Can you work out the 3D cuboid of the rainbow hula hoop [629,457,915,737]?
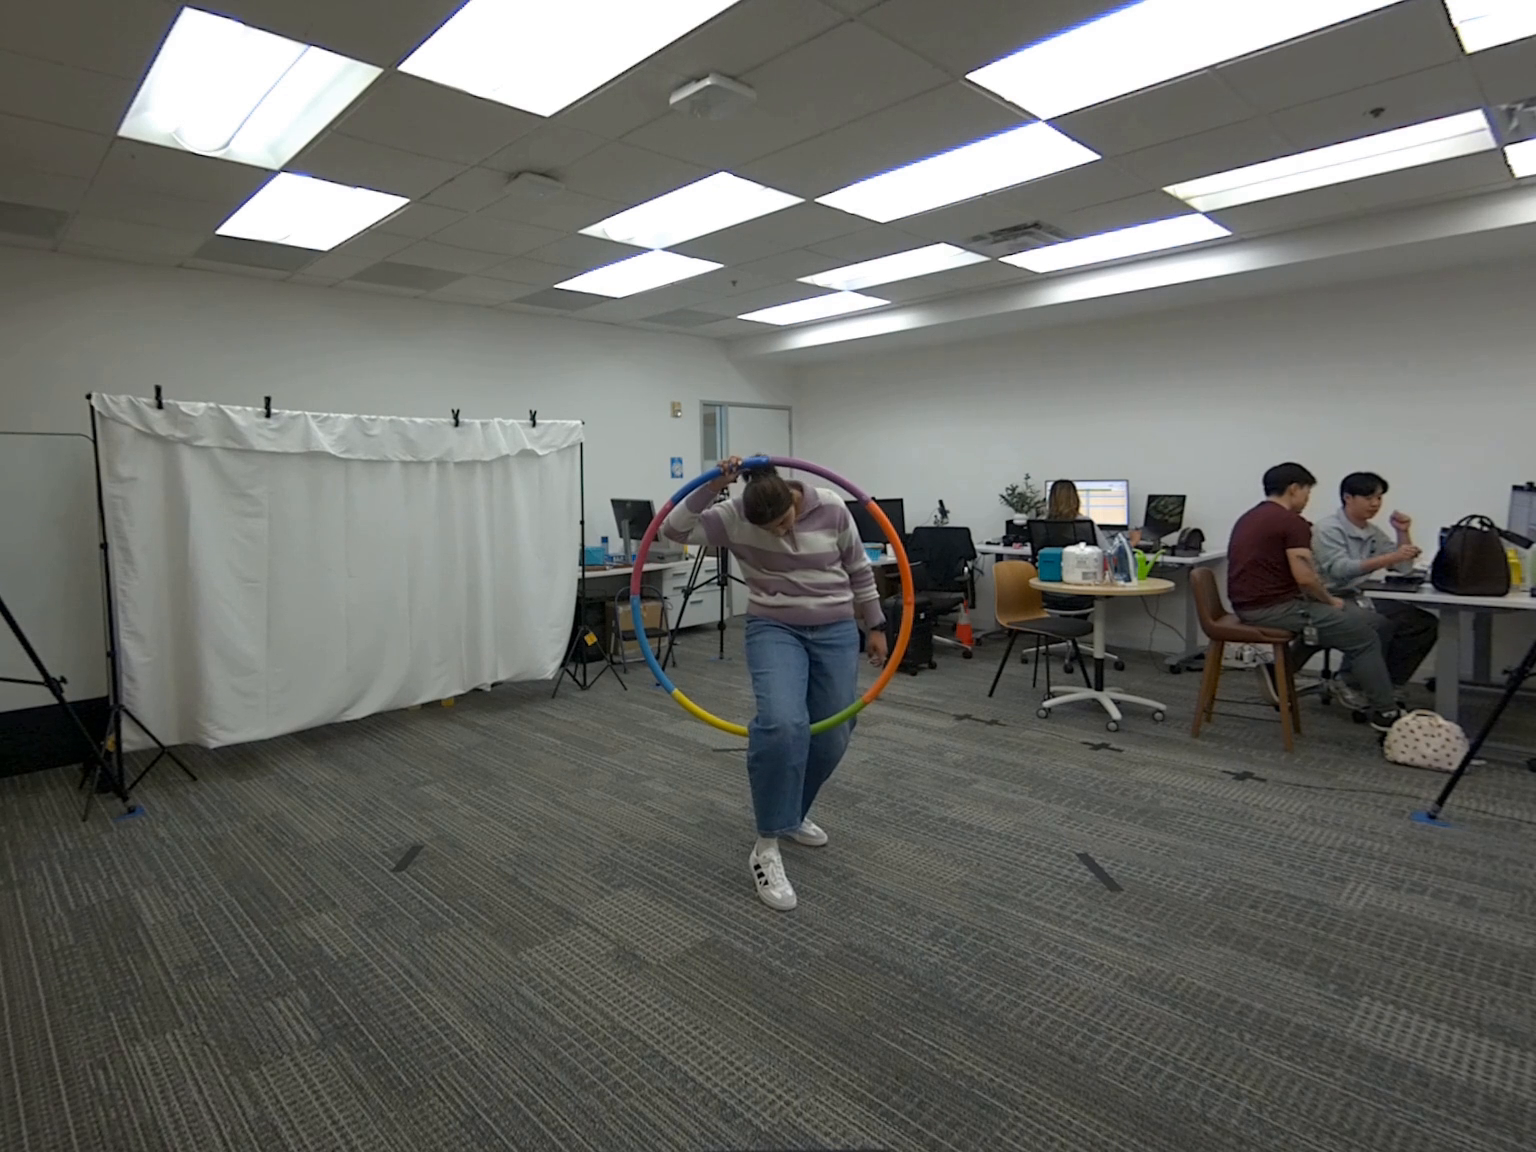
[{"bbox_3d":[0.000,0.076,2.974,0.995,0.982,0.051,0,3,10],"label":"rainbow hula hoop"}]
